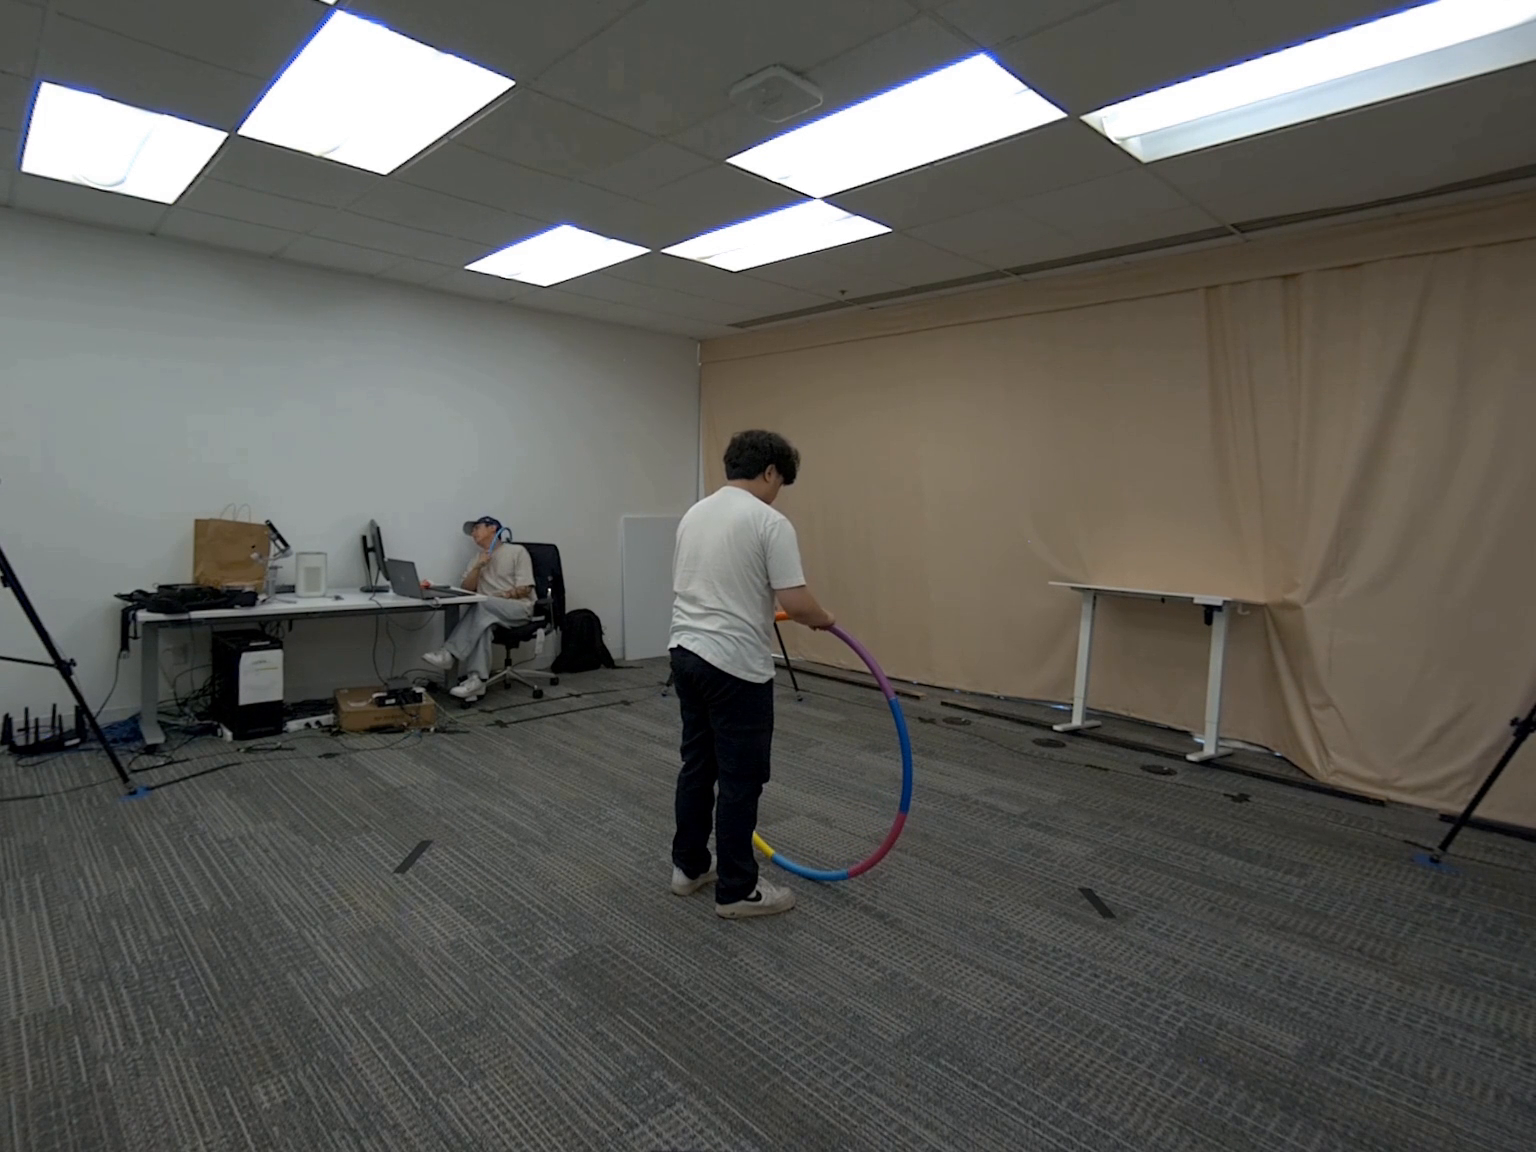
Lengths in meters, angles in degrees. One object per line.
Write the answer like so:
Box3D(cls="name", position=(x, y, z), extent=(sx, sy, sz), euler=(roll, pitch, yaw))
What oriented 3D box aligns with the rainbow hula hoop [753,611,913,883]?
Box3D(cls="rainbow hula hoop", position=(0.108, 0.622, 3.115), extent=(0.050, 0.982, 1.011), euler=(-3, 6, -44))
